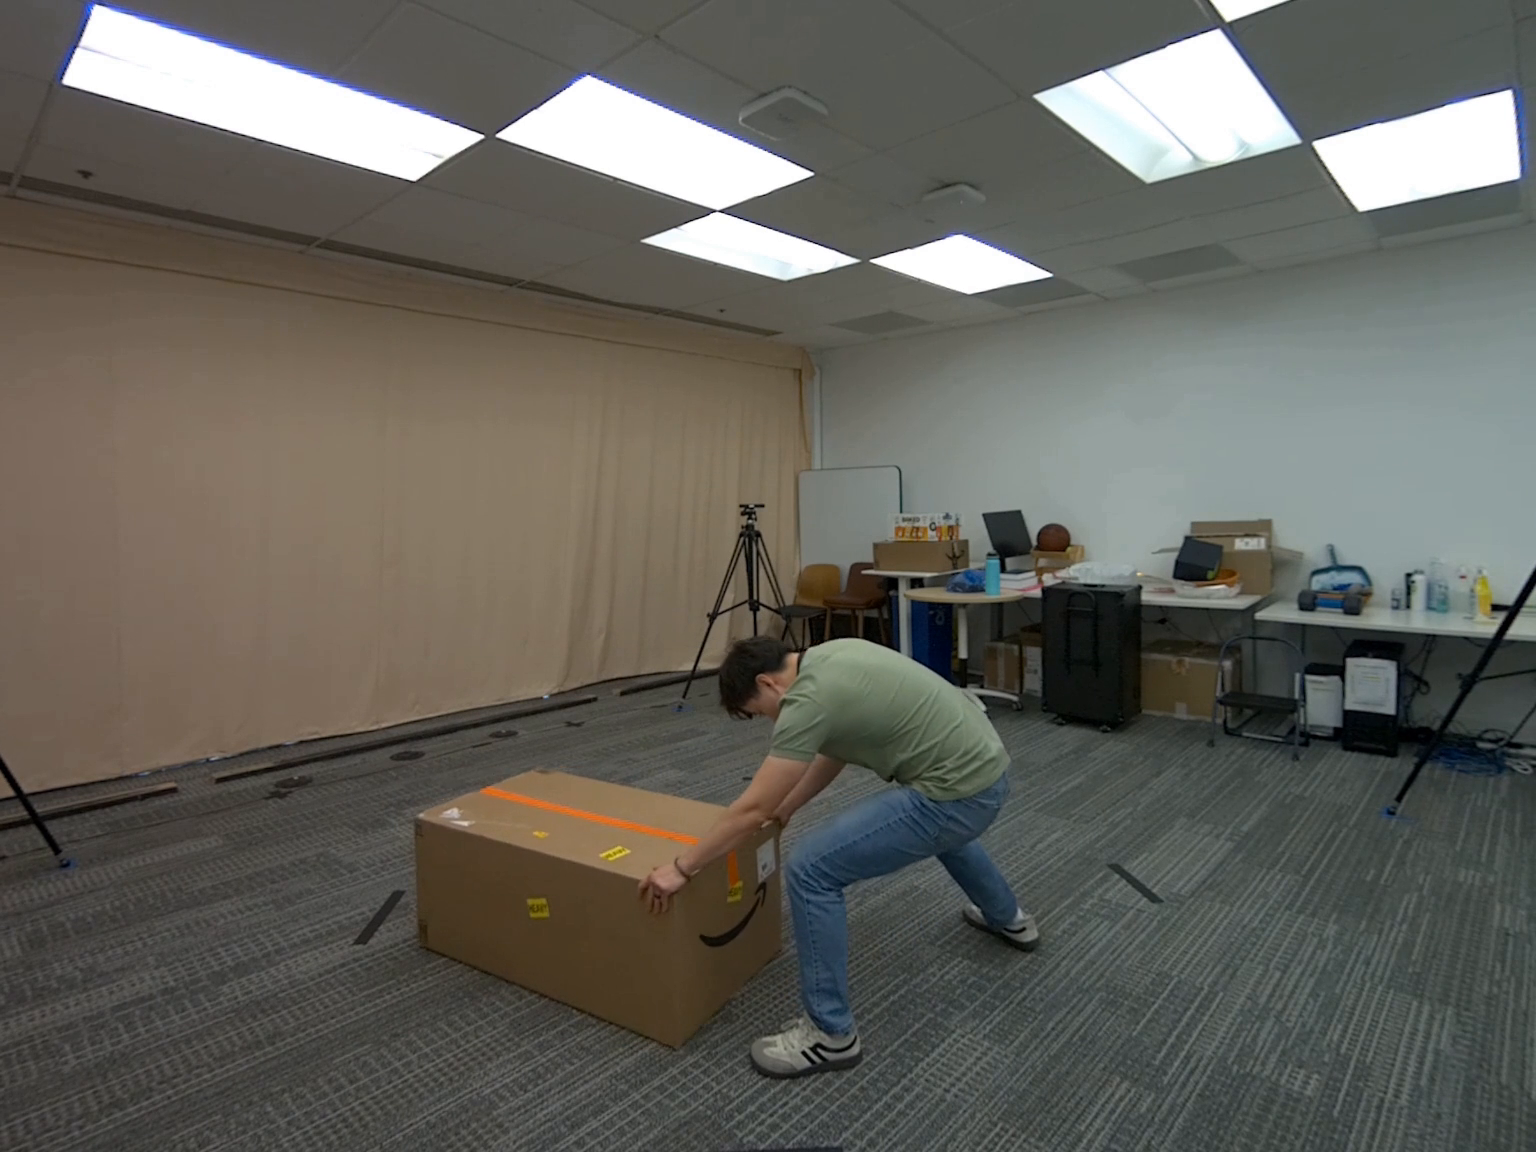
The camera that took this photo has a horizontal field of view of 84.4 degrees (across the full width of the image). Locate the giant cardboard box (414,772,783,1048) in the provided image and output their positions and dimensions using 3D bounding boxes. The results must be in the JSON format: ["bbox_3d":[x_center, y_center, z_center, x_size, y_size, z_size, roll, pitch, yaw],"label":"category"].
[{"bbox_3d":[-0.536,0.964,2.658,1.056,0.425,0.562,2,5,31],"label":"giant cardboard box"}]
